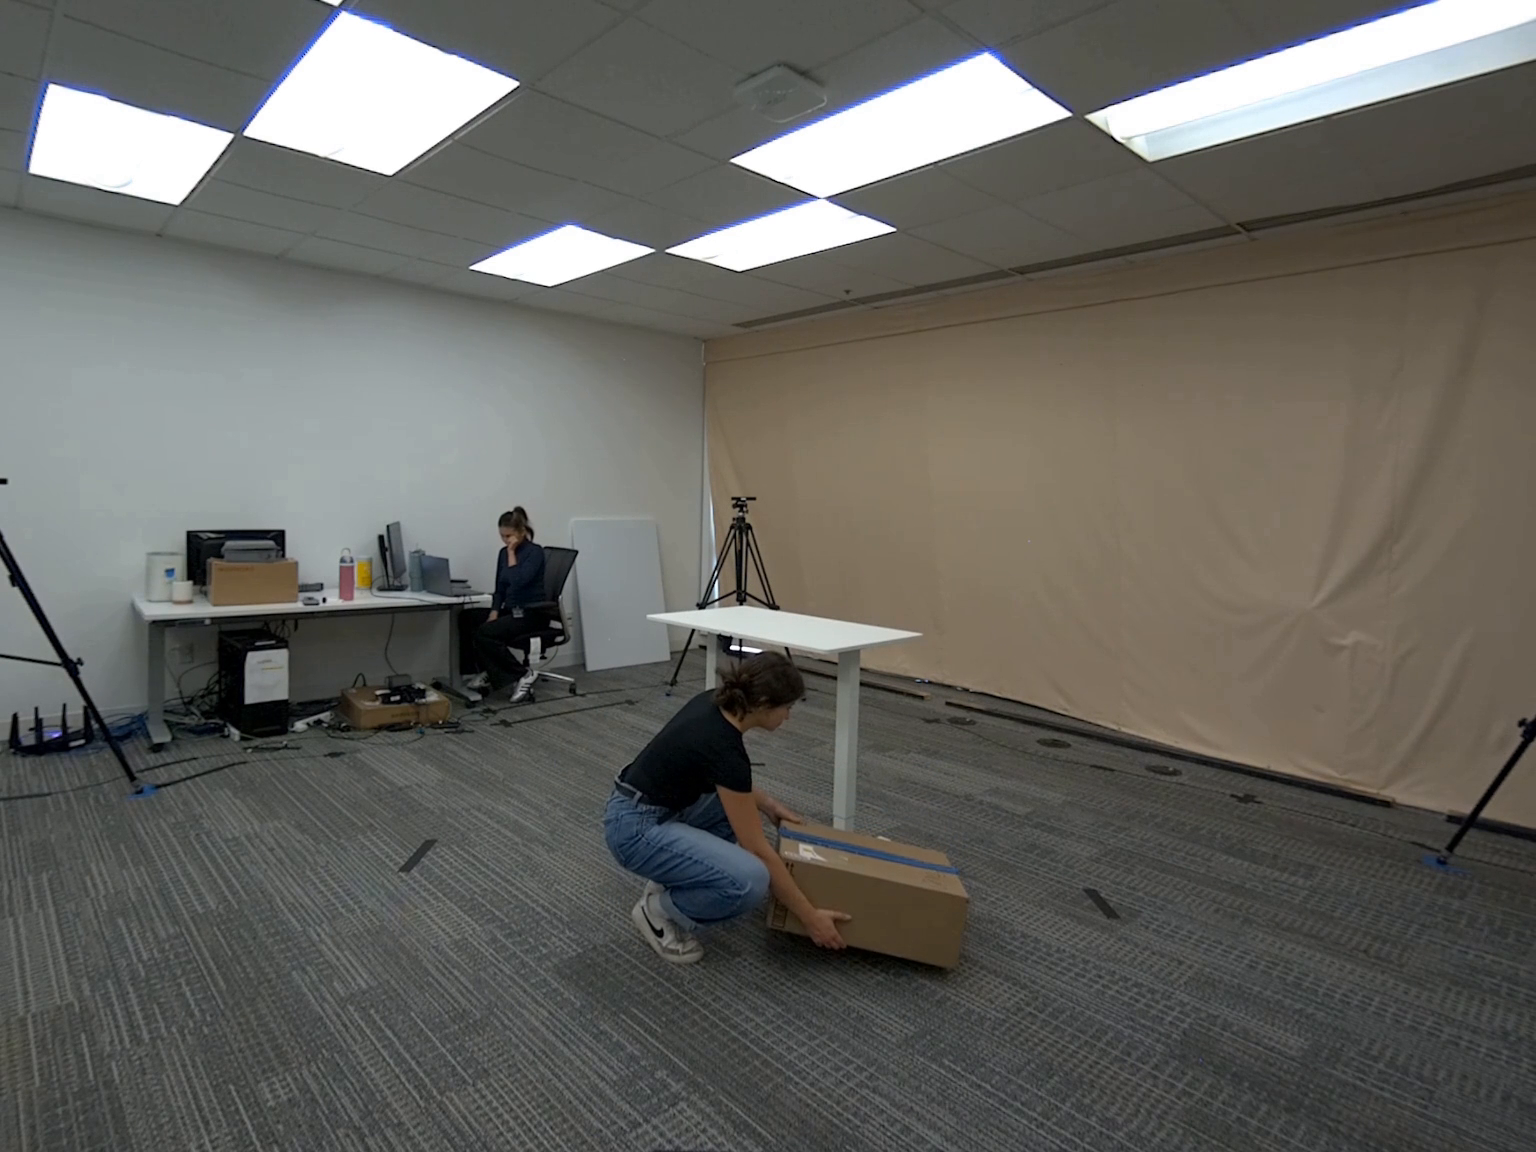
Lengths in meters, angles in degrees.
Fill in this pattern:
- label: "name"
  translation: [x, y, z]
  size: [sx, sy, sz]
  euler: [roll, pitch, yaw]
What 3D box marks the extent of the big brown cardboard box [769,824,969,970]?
- label: "big brown cardboard box"
  translation: [0.289, 0.983, 2.665]
  size: [0.590, 0.233, 0.416]
  euler: [12, 0, 2]
